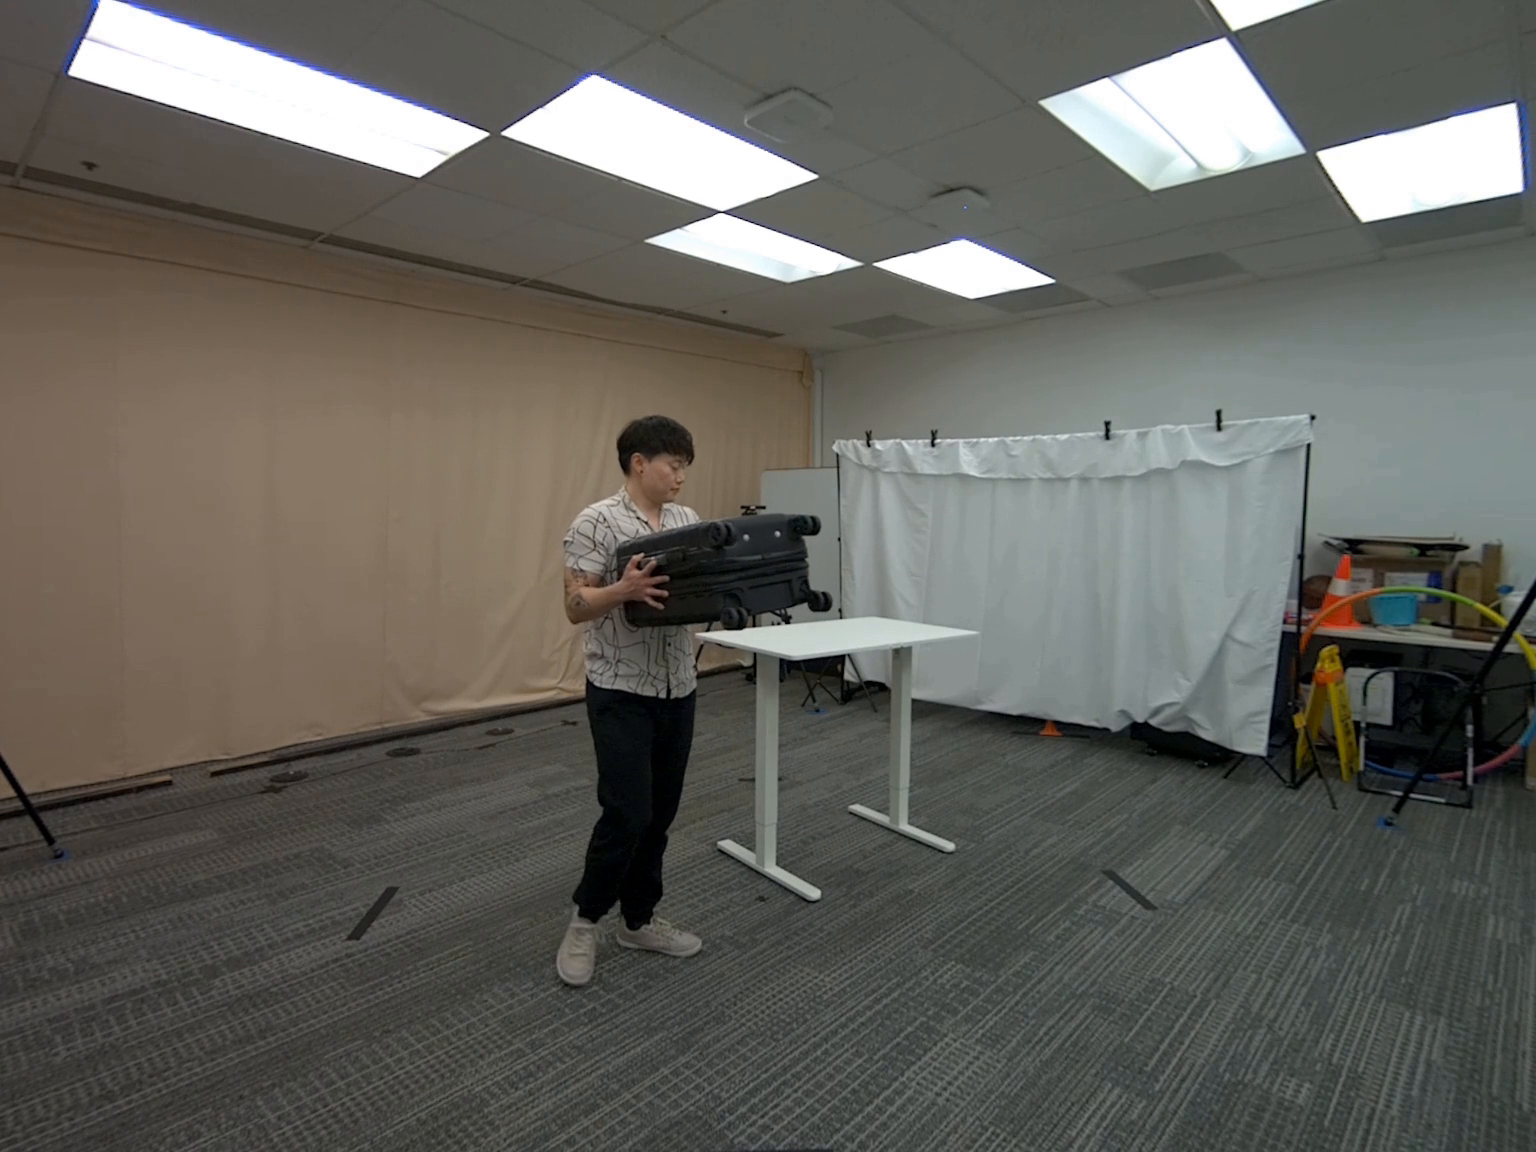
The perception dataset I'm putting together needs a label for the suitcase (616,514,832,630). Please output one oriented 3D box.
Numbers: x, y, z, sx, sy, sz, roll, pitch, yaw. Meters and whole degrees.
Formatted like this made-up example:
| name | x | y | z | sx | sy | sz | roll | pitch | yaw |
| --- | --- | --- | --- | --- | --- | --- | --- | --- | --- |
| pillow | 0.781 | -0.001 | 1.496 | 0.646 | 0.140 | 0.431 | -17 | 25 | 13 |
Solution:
| name | x | y | z | sx | sy | sz | roll | pitch | yaw |
| --- | --- | --- | --- | --- | --- | --- | --- | --- | --- |
| suitcase | -0.152 | -0.009 | 2.304 | 0.364 | 0.248 | 0.565 | -8 | 1 | -44 |
